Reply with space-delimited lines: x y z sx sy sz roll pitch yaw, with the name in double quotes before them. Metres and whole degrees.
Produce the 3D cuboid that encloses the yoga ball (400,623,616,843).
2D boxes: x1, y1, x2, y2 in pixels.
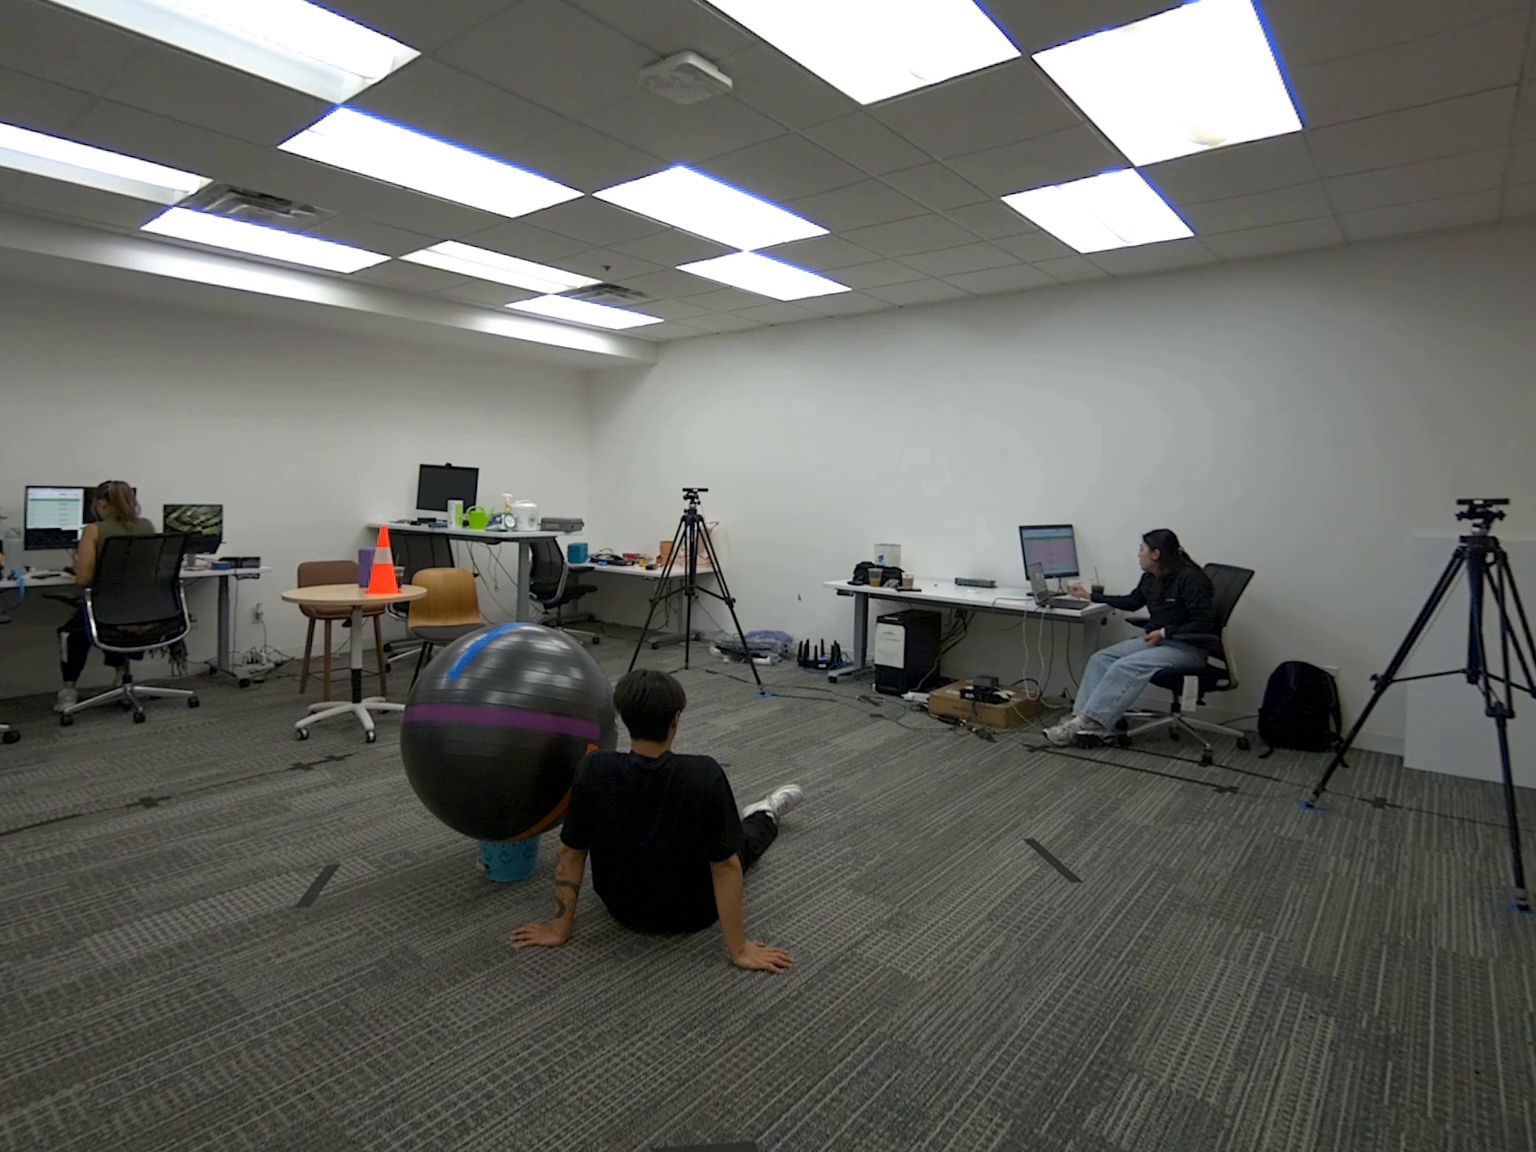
"yoga ball" -0.941 0.556 3.056 0.757 0.755 0.762 1 4 -2
